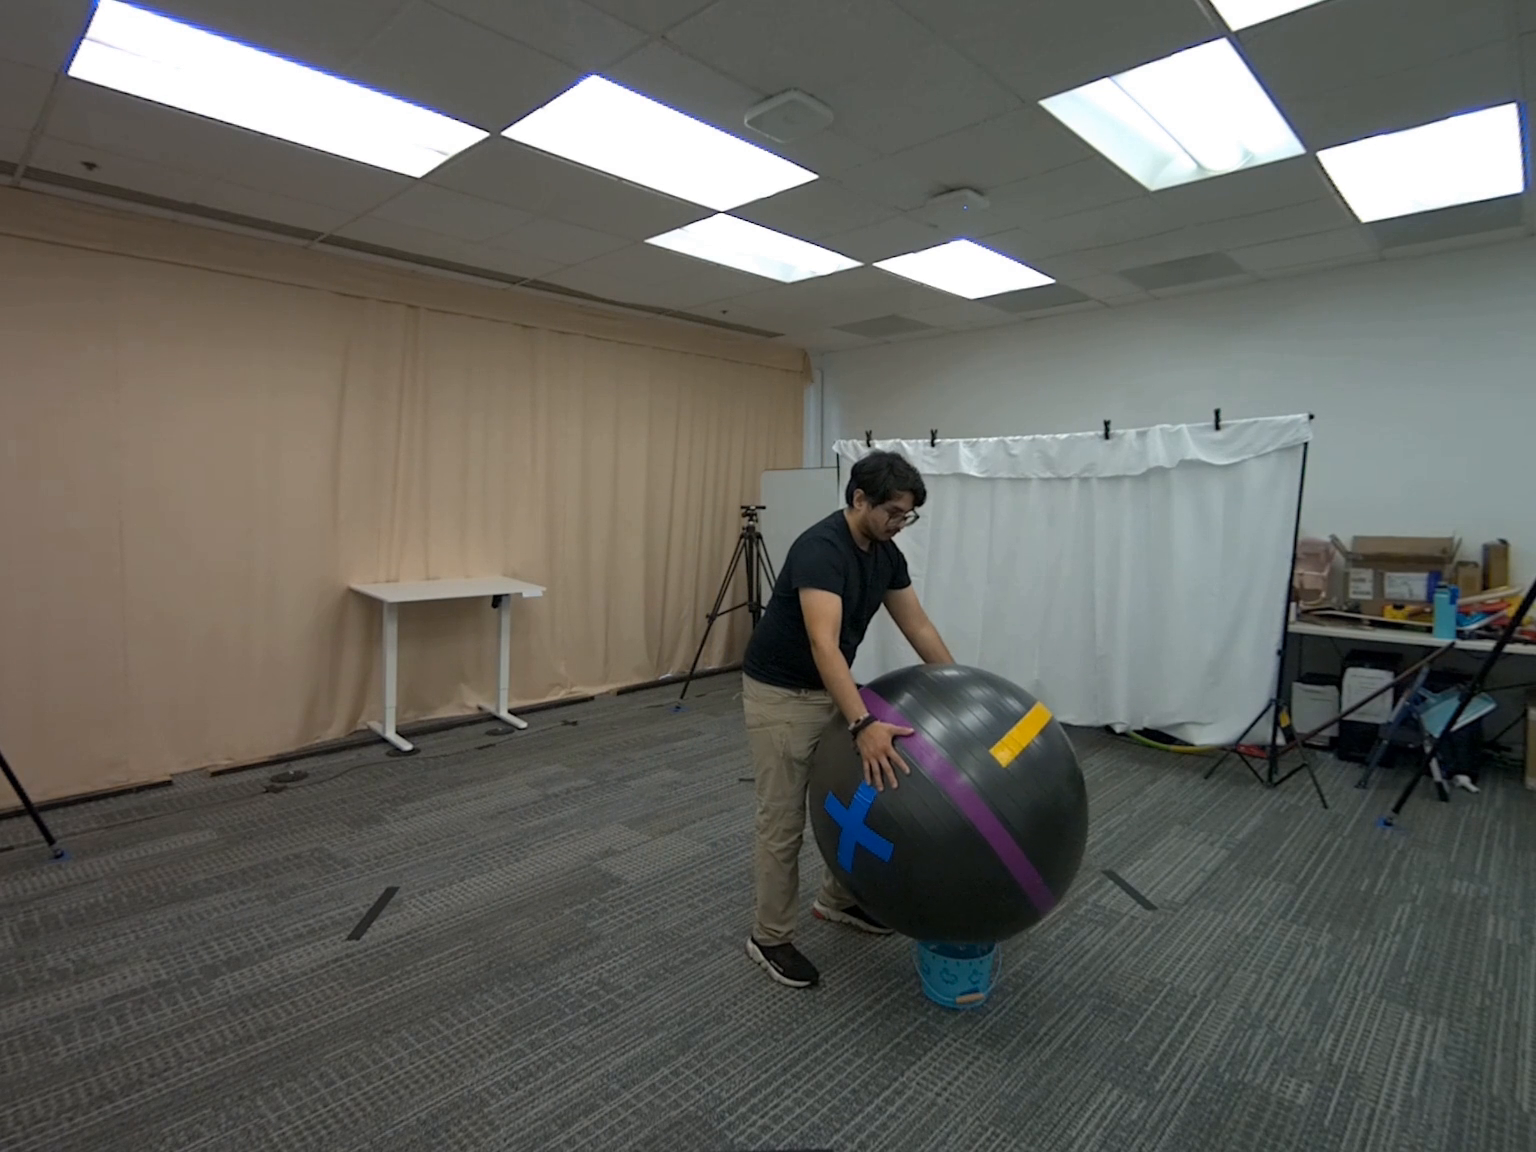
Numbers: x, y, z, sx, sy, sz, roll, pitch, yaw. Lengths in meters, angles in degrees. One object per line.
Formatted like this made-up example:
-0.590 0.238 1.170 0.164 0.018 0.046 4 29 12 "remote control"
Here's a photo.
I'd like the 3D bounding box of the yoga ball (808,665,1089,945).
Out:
0.497 0.634 2.375 0.757 0.756 0.760 0 4 -2 "yoga ball"
